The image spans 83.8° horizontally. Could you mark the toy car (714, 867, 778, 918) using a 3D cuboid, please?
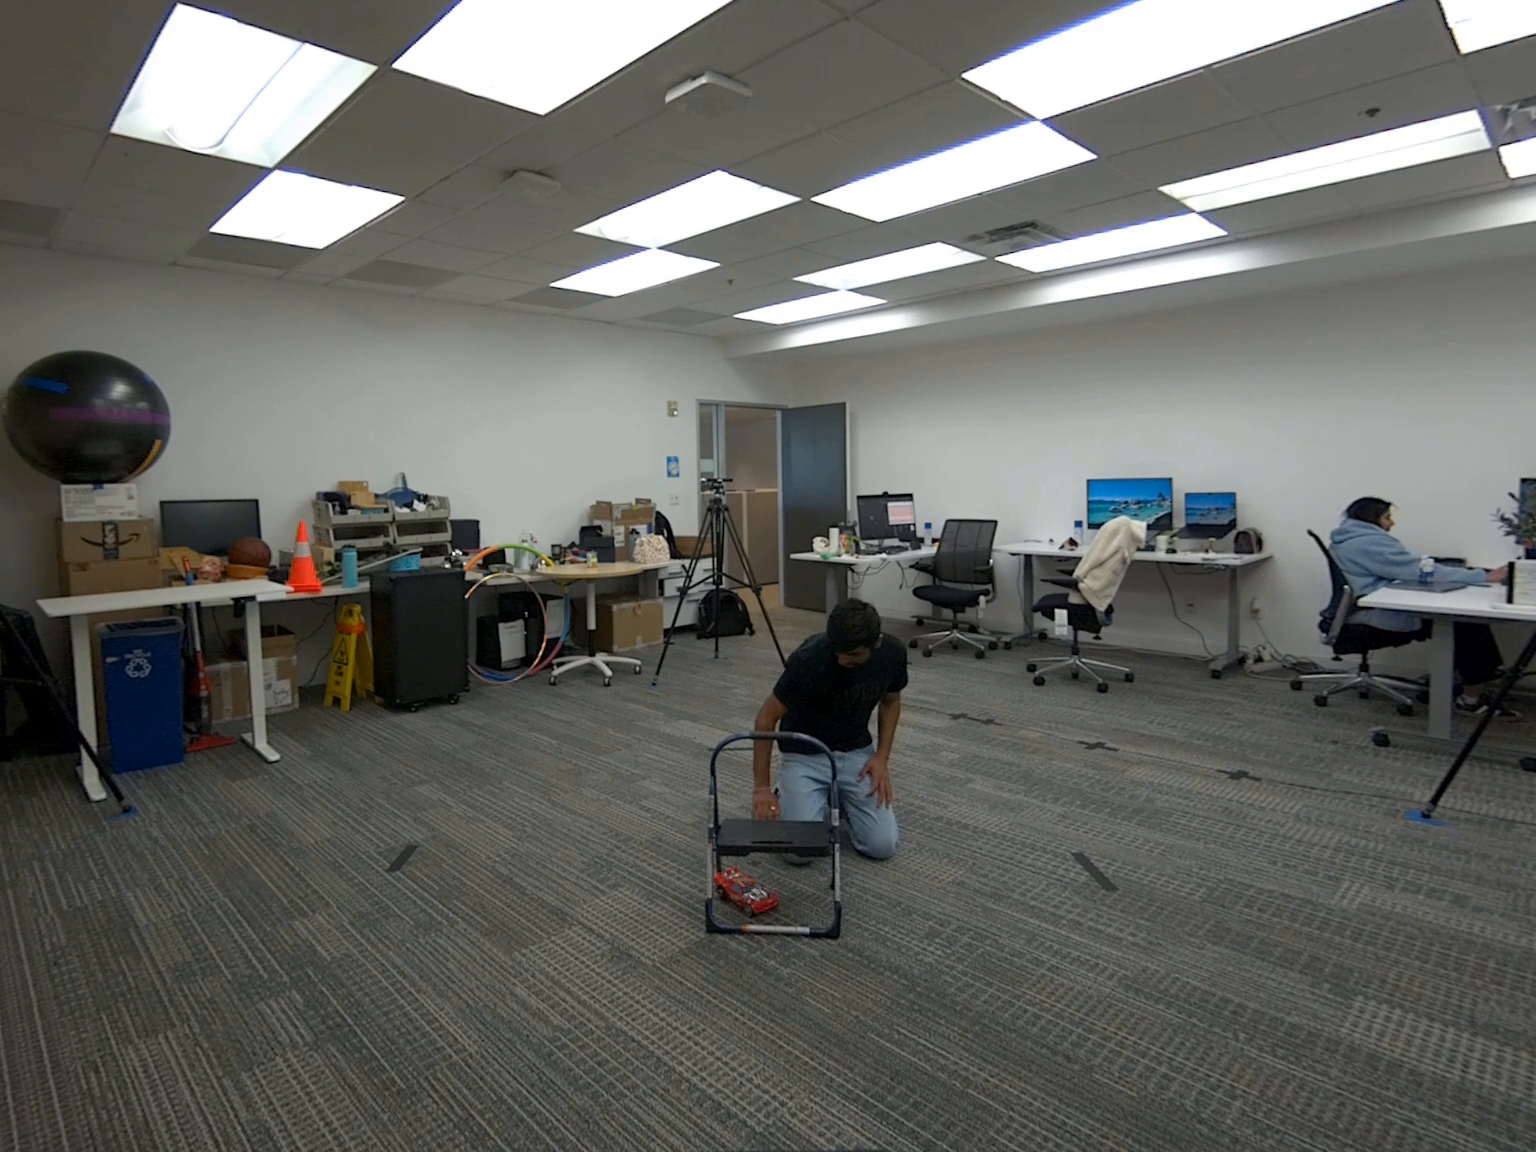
[{"bbox_3d":[-0.075,1.047,2.834,0.127,0.082,0.264,-6,19,-36],"label":"toy car"}]
